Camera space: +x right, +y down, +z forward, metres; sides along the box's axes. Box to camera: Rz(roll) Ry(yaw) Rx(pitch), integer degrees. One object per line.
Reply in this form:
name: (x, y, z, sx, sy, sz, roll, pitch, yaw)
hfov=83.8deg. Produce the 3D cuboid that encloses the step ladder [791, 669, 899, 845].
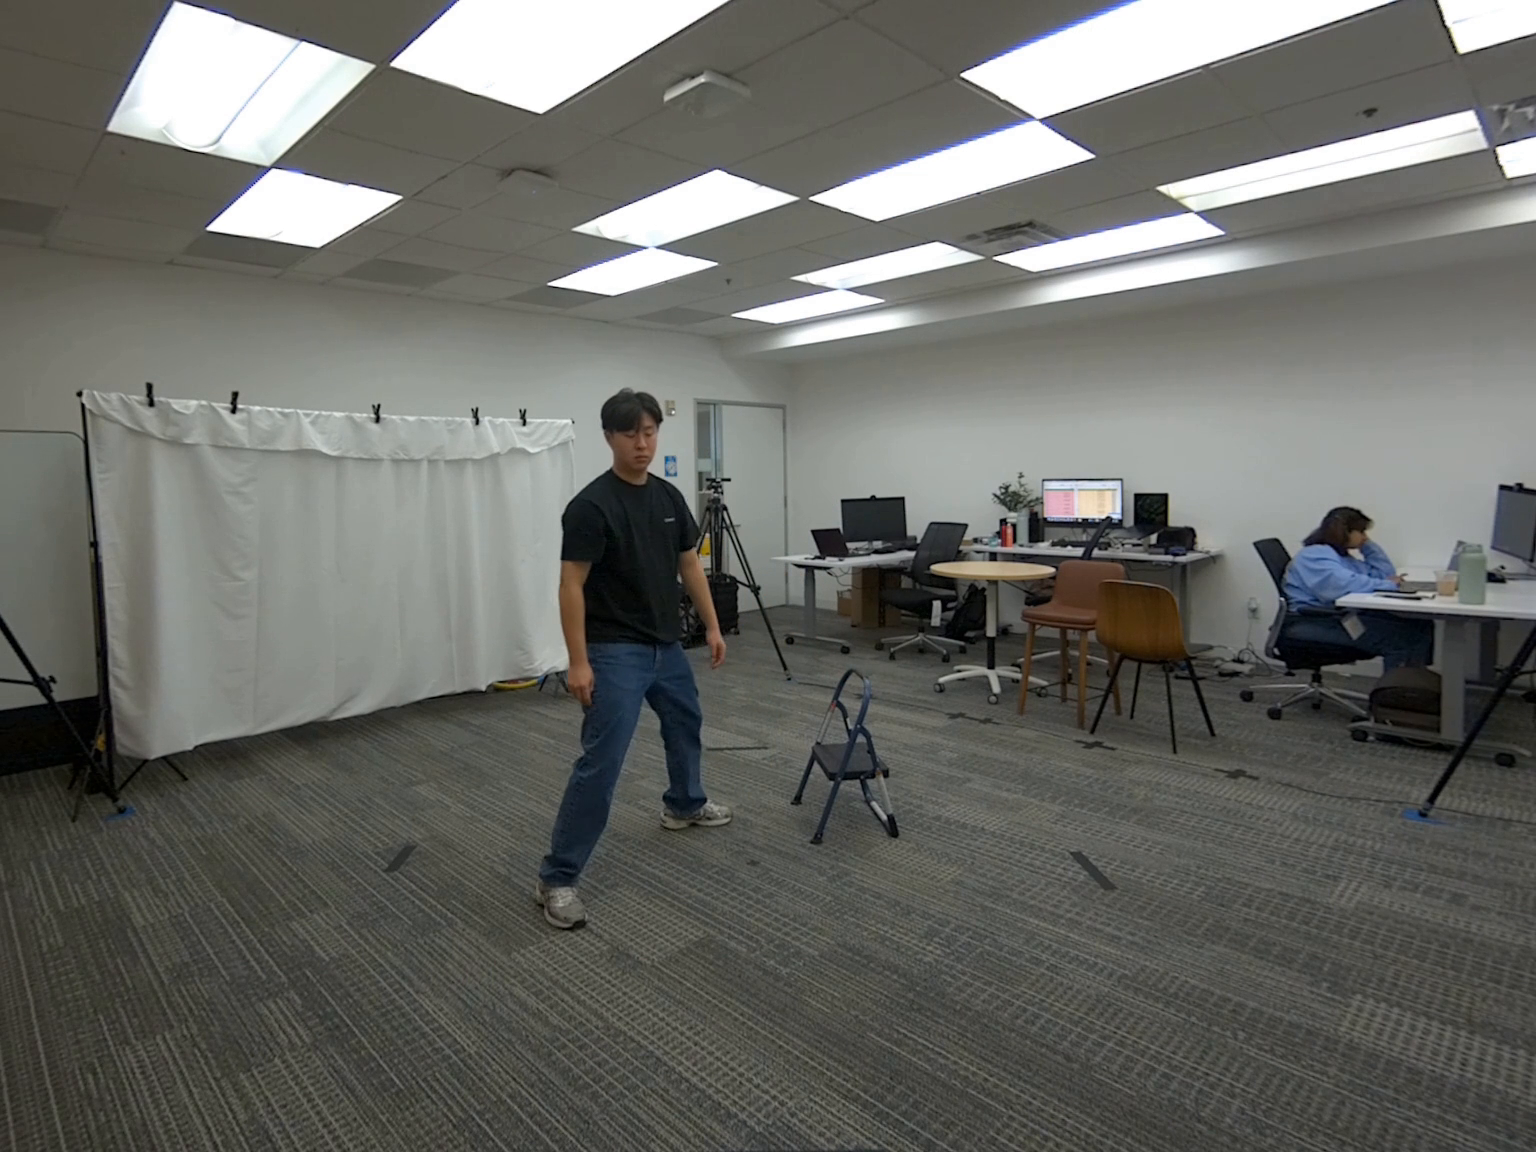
step ladder: (0.293, 0.693, 3.462, 0.347, 0.603, 0.436, -2, 5, -9)
